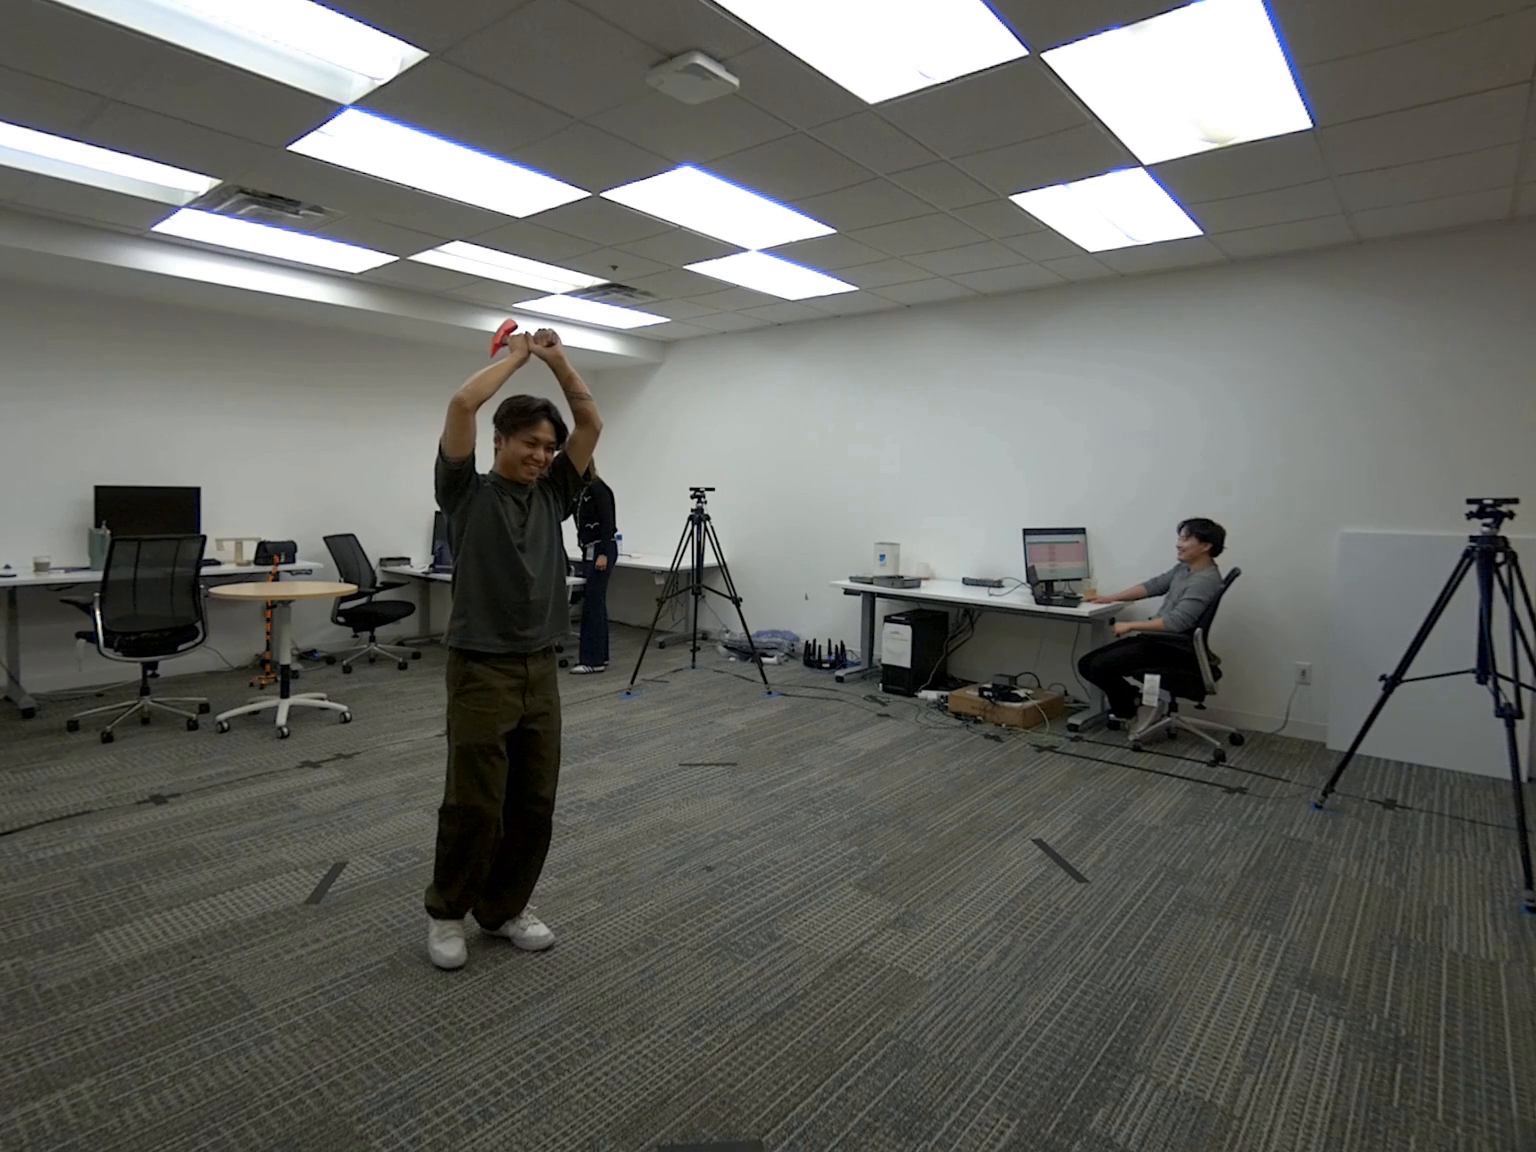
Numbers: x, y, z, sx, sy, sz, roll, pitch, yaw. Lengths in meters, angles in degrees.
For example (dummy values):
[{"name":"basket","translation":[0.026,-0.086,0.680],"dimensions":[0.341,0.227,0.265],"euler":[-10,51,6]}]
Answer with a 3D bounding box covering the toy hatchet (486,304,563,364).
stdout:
[{"name":"toy hatchet","translation":[-0.742,-0.731,2.545],"dimensions":[0.278,0.133,0.028],"euler":[-2,-21,37]}]
